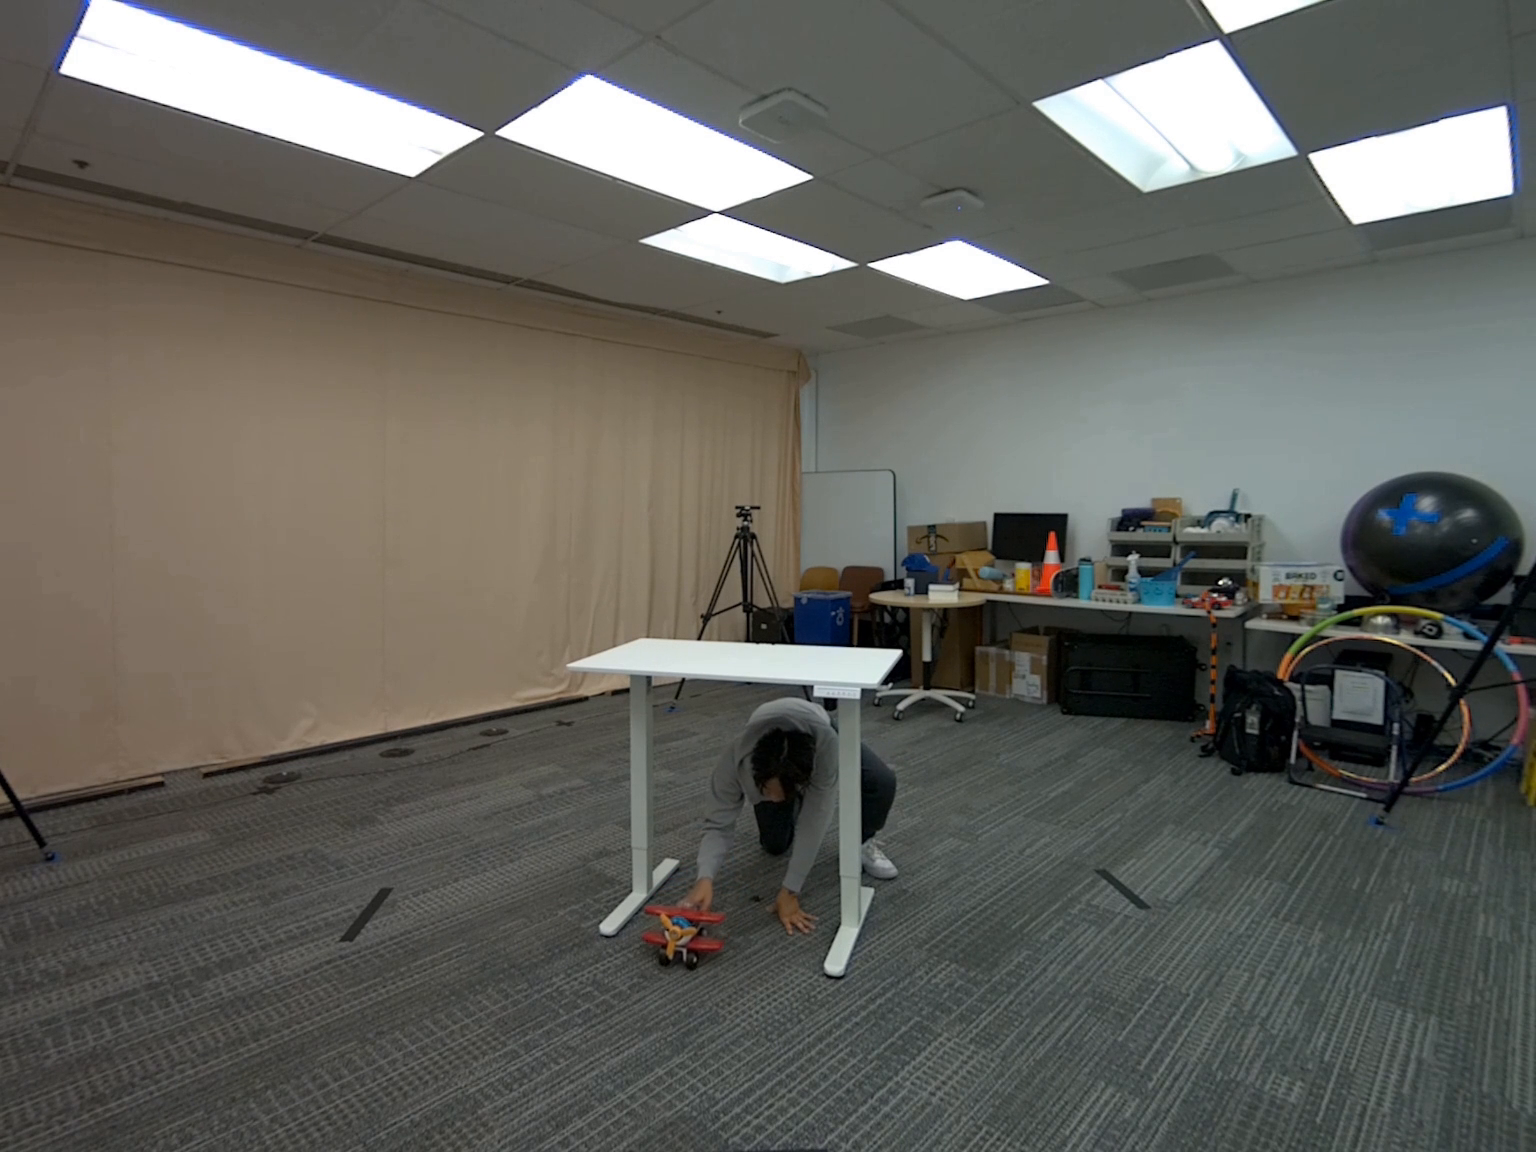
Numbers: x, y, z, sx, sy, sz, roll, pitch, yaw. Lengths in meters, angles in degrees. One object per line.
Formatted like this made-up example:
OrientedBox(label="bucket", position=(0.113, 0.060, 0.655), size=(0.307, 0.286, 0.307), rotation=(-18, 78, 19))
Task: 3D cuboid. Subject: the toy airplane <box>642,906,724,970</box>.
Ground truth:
OrientedBox(label="toy airplane", position=(-0.270, 1.104, 2.628), size=(0.247, 0.156, 0.264), rotation=(-1, 5, -15))
